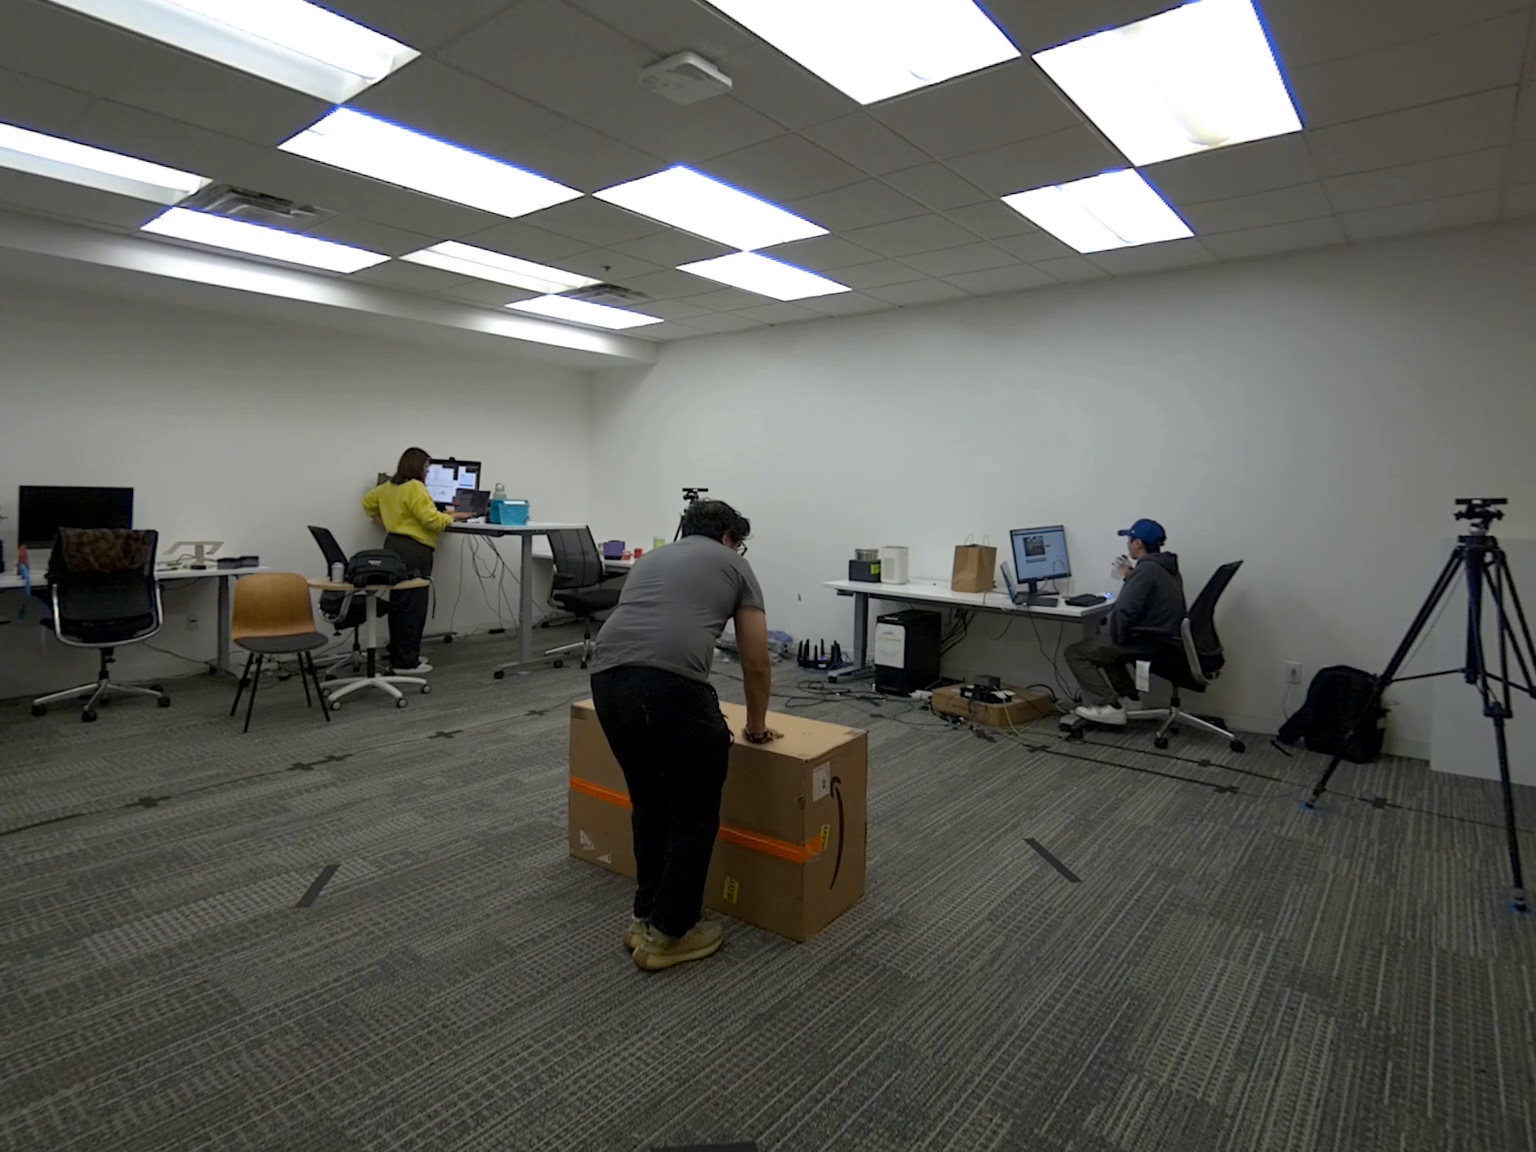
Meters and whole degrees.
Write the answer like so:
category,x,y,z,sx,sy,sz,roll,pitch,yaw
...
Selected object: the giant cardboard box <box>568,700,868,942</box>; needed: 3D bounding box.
category,x,y,z,sx,sy,sz,roll,pitch,yaw
giant cardboard box,-0.213,0.785,3.055,1.059,0.575,0.414,4,5,34
